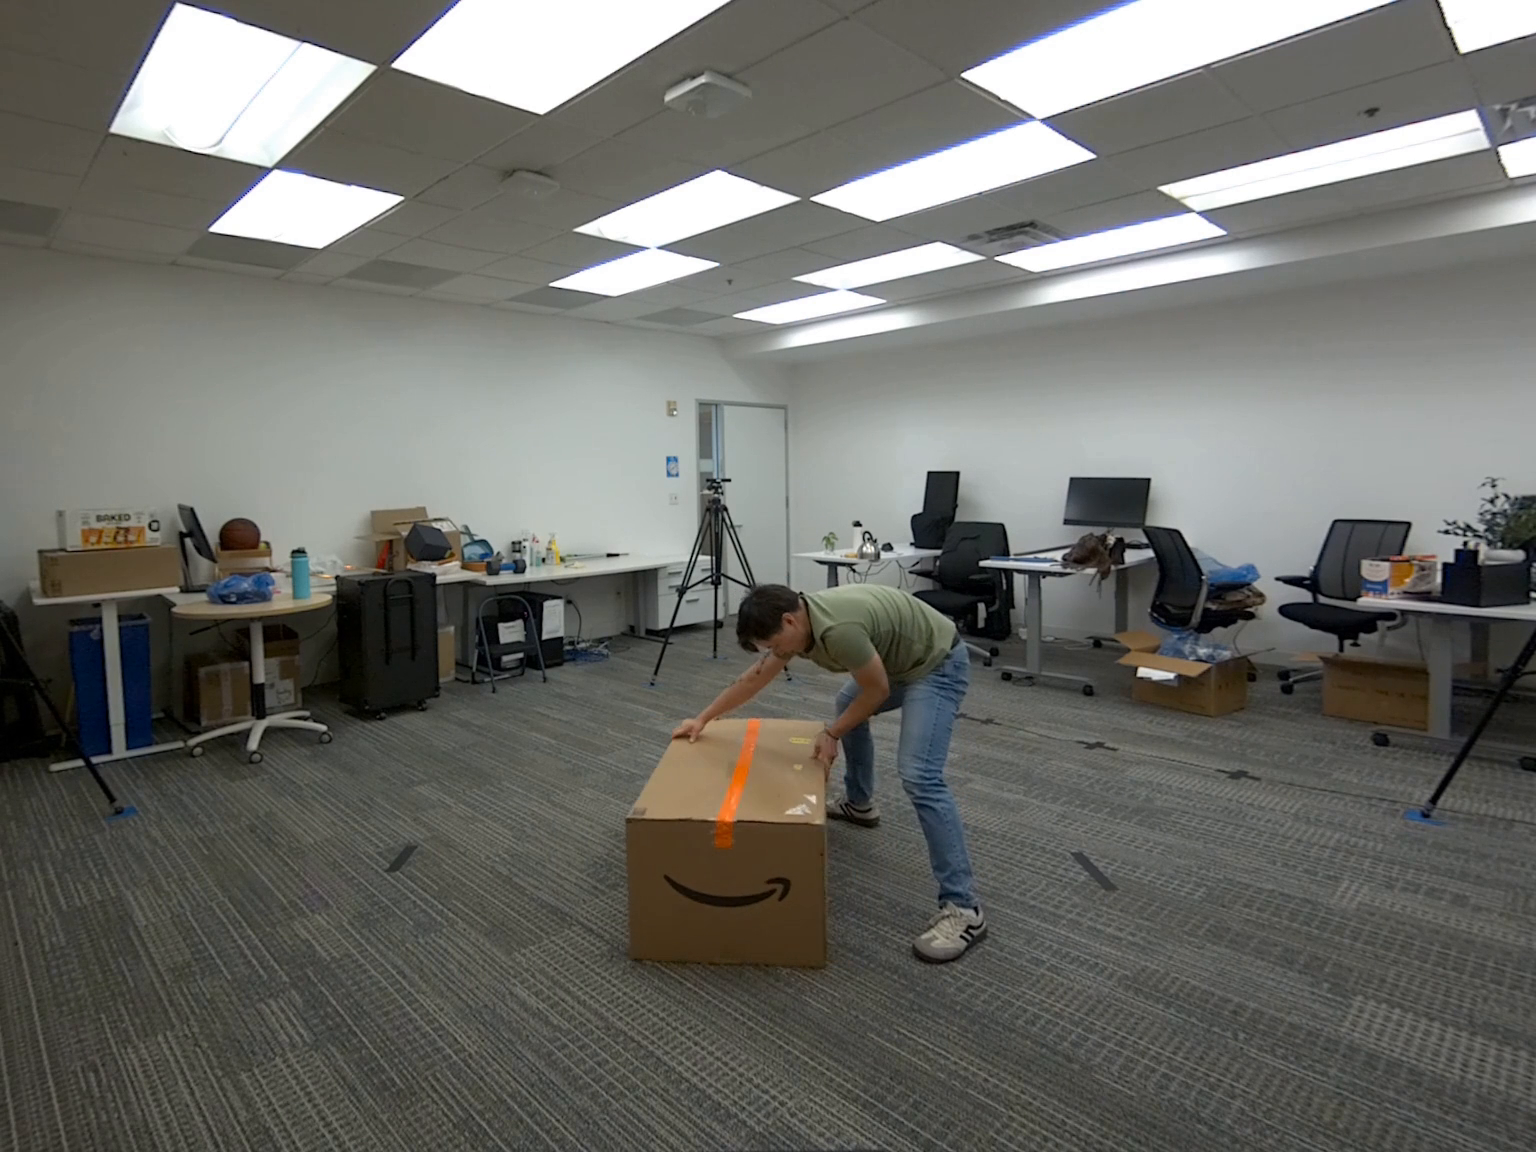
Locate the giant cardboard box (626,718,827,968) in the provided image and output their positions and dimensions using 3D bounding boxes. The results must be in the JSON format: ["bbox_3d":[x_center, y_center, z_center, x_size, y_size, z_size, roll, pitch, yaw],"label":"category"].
[{"bbox_3d":[-0.096,0.849,2.943,0.581,0.424,1.024,0,6,5],"label":"giant cardboard box"}]
